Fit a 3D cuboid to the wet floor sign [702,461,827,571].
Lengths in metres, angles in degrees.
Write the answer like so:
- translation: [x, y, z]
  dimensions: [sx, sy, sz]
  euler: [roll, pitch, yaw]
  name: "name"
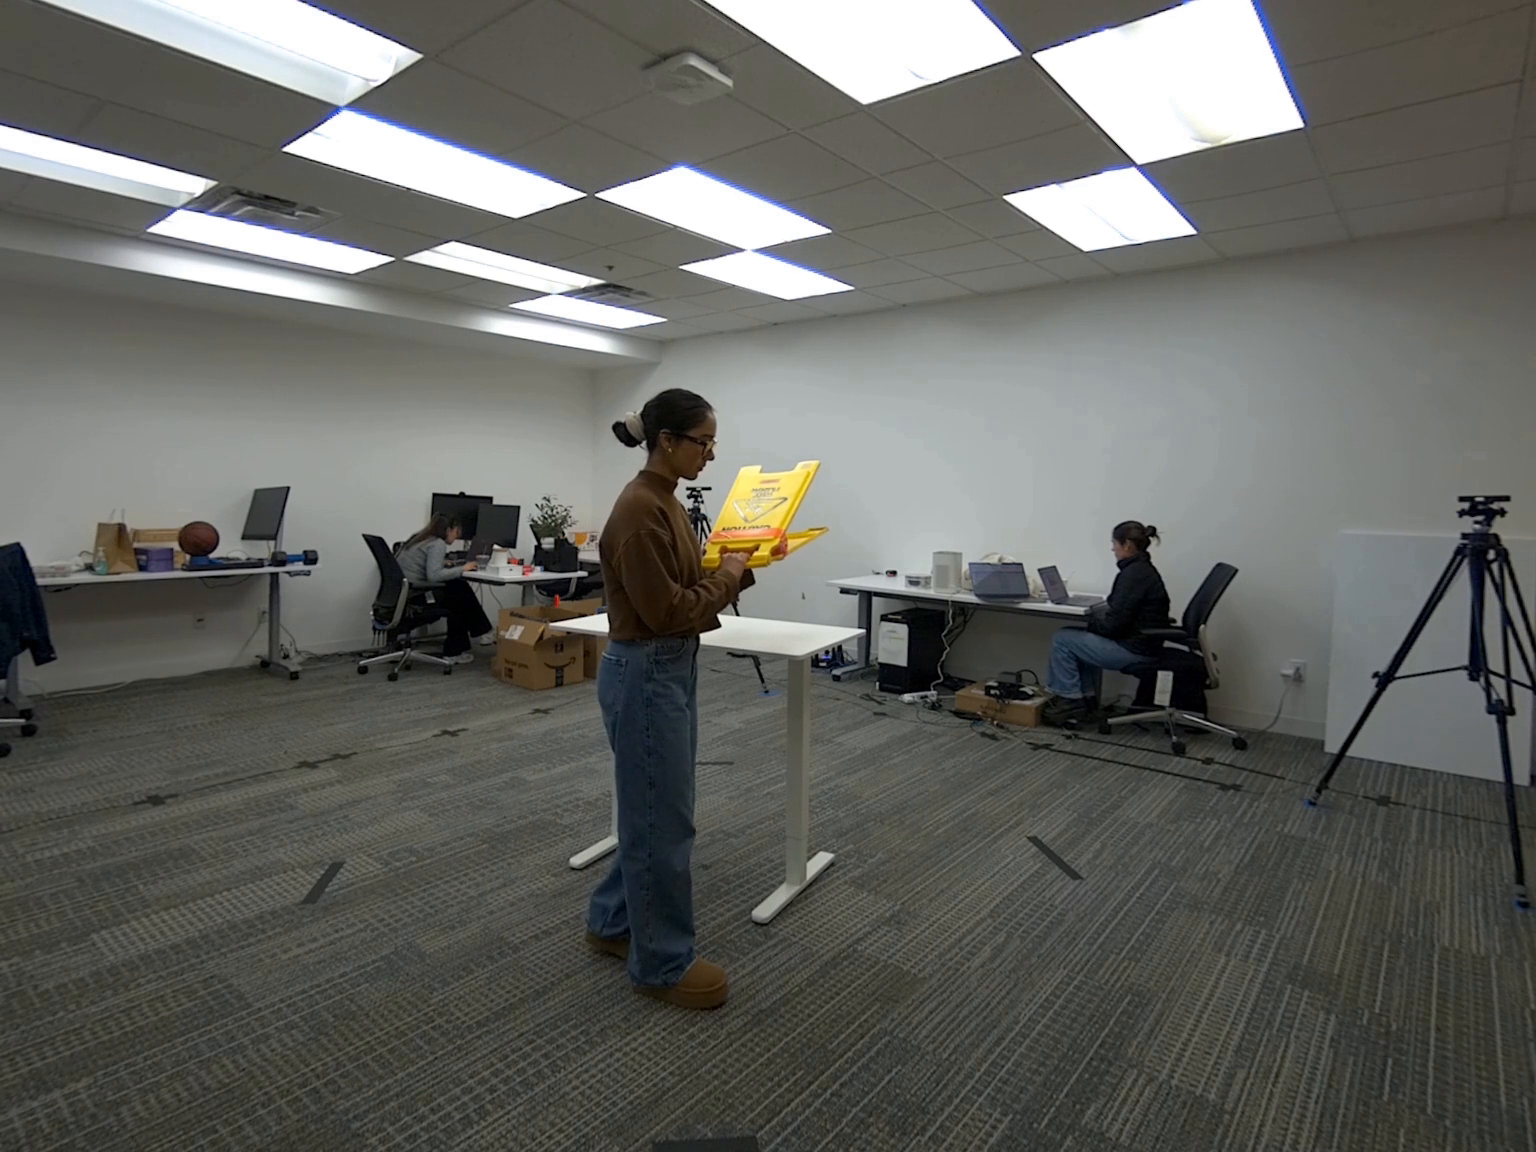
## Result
- translation: [-0.013, -0.146, 2.646]
  dimensions: [0.287, 0.285, 0.647]
  euler: [-5, 18, 16]
  name: "wet floor sign"
